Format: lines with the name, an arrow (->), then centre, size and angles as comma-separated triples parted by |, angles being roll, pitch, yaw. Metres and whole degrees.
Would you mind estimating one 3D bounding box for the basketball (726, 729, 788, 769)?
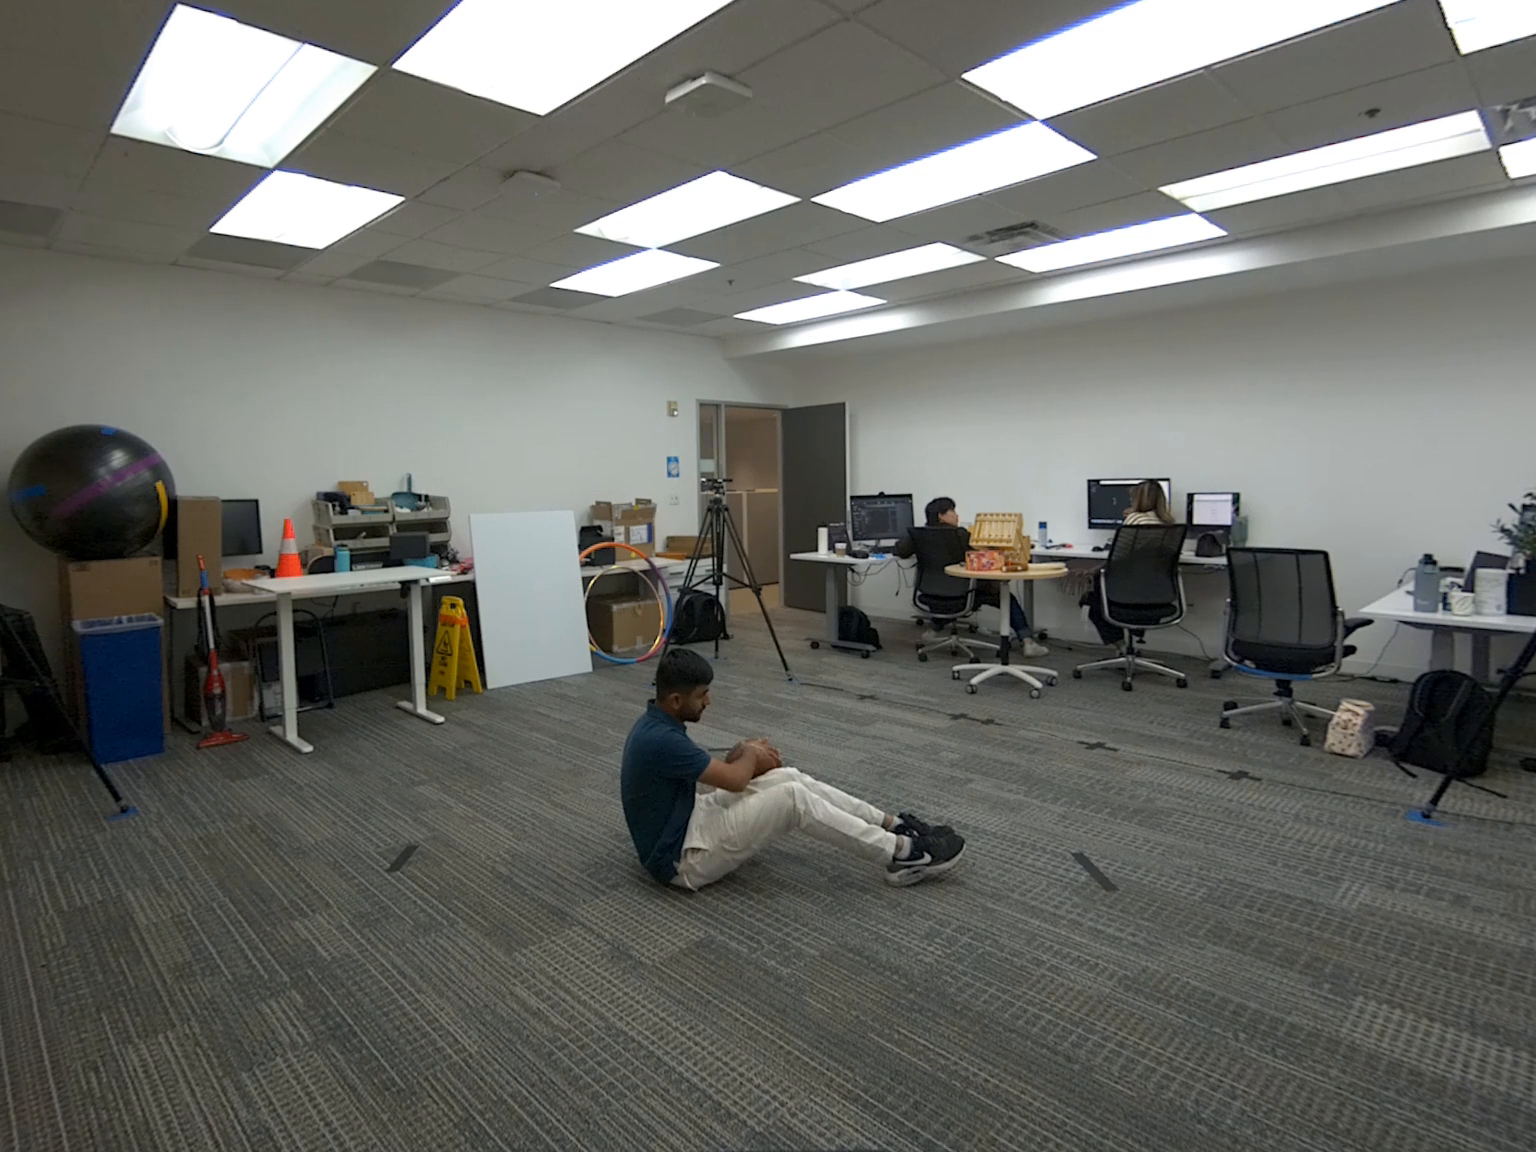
basketball -> -0.048, 0.768, 3.455 | 0.236, 0.235, 0.237 | -1, 5, -2
